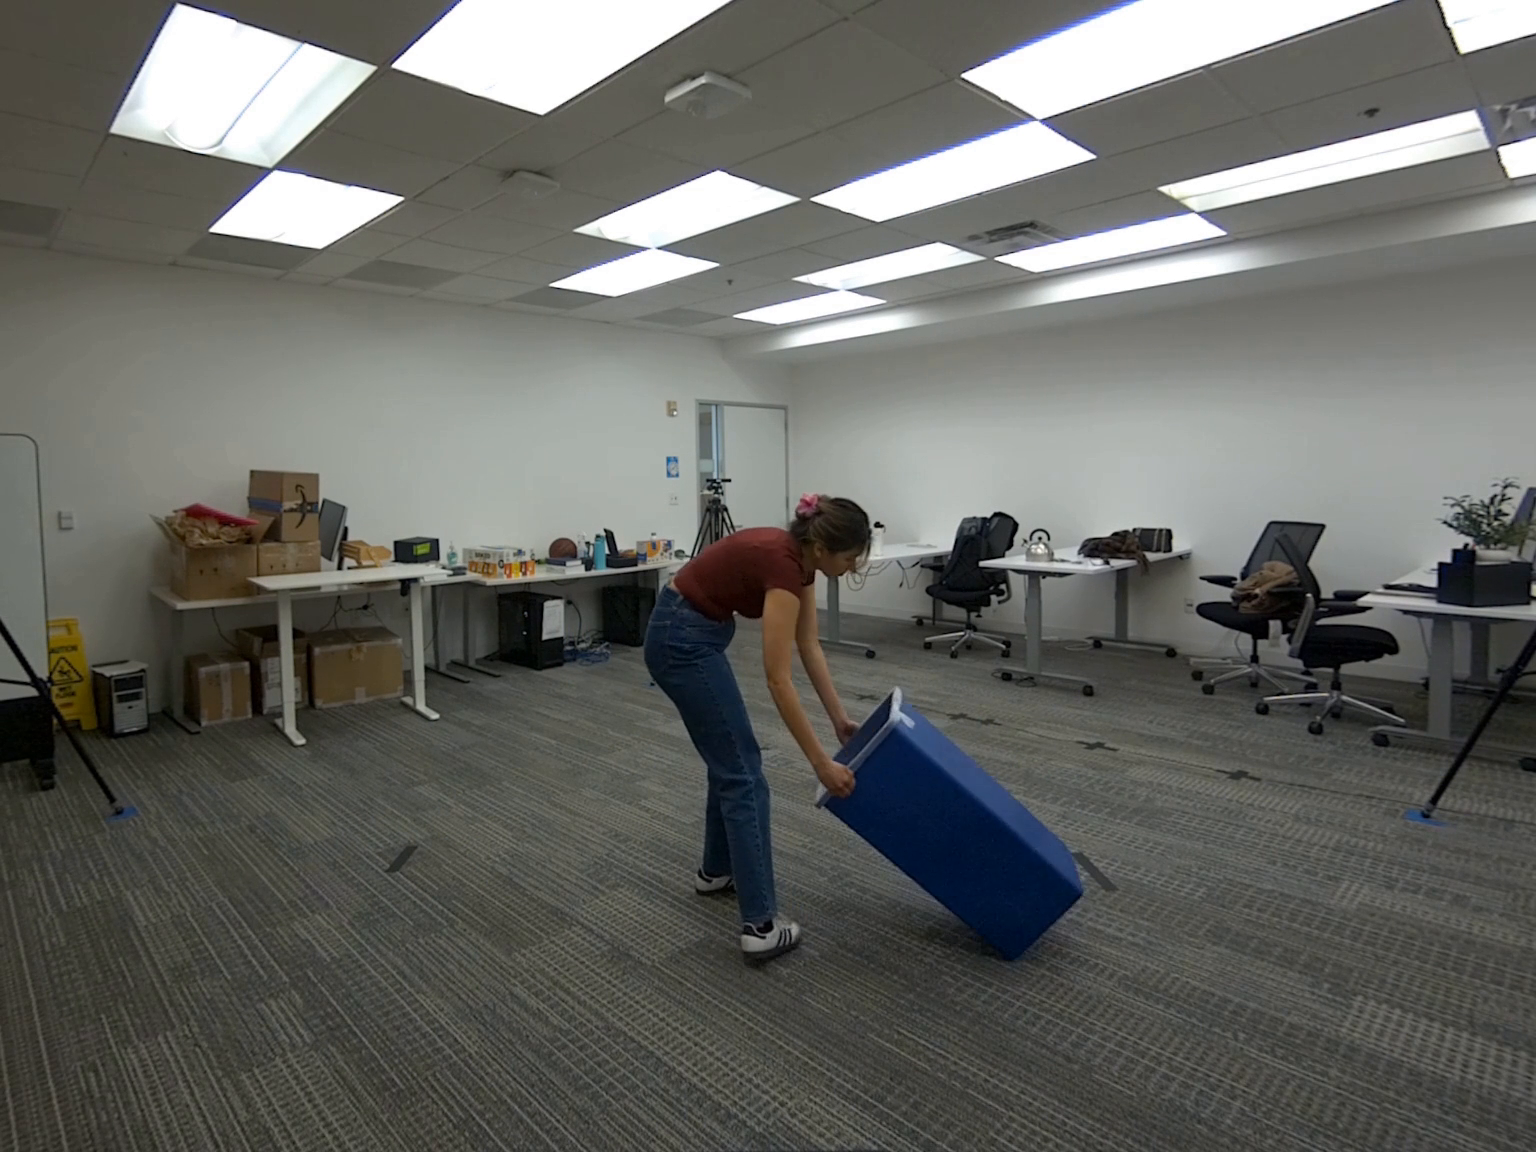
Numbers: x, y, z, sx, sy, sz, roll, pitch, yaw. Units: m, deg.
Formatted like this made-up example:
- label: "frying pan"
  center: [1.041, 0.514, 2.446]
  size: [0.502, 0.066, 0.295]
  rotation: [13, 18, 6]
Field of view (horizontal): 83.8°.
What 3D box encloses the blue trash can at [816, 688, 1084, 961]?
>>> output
- label: "blue trash can"
  center: [0.524, 0.750, 2.597]
  size: [0.721, 0.373, 0.375]
  rotation: [41, 13, 7]
